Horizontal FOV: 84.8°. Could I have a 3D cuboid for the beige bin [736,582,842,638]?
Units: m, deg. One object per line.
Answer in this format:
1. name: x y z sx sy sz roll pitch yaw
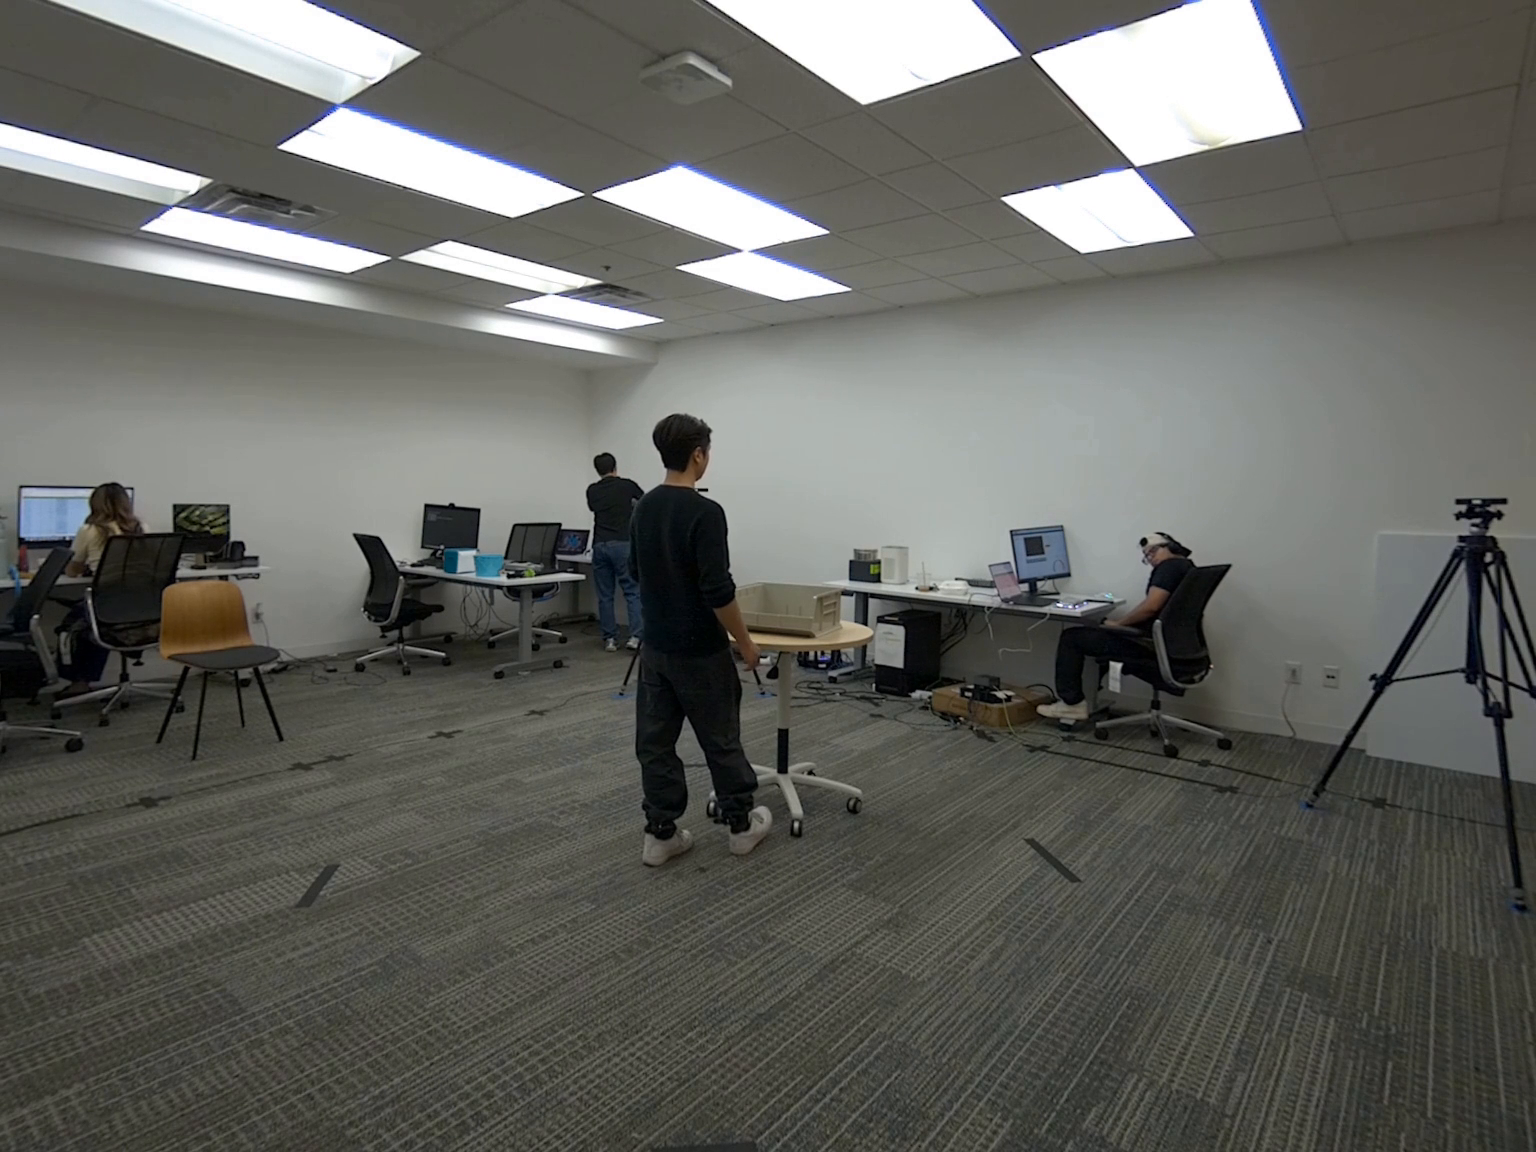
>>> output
1. beige bin: 0.073 0.143 3.745 0.434 0.188 0.369 3 5 26
